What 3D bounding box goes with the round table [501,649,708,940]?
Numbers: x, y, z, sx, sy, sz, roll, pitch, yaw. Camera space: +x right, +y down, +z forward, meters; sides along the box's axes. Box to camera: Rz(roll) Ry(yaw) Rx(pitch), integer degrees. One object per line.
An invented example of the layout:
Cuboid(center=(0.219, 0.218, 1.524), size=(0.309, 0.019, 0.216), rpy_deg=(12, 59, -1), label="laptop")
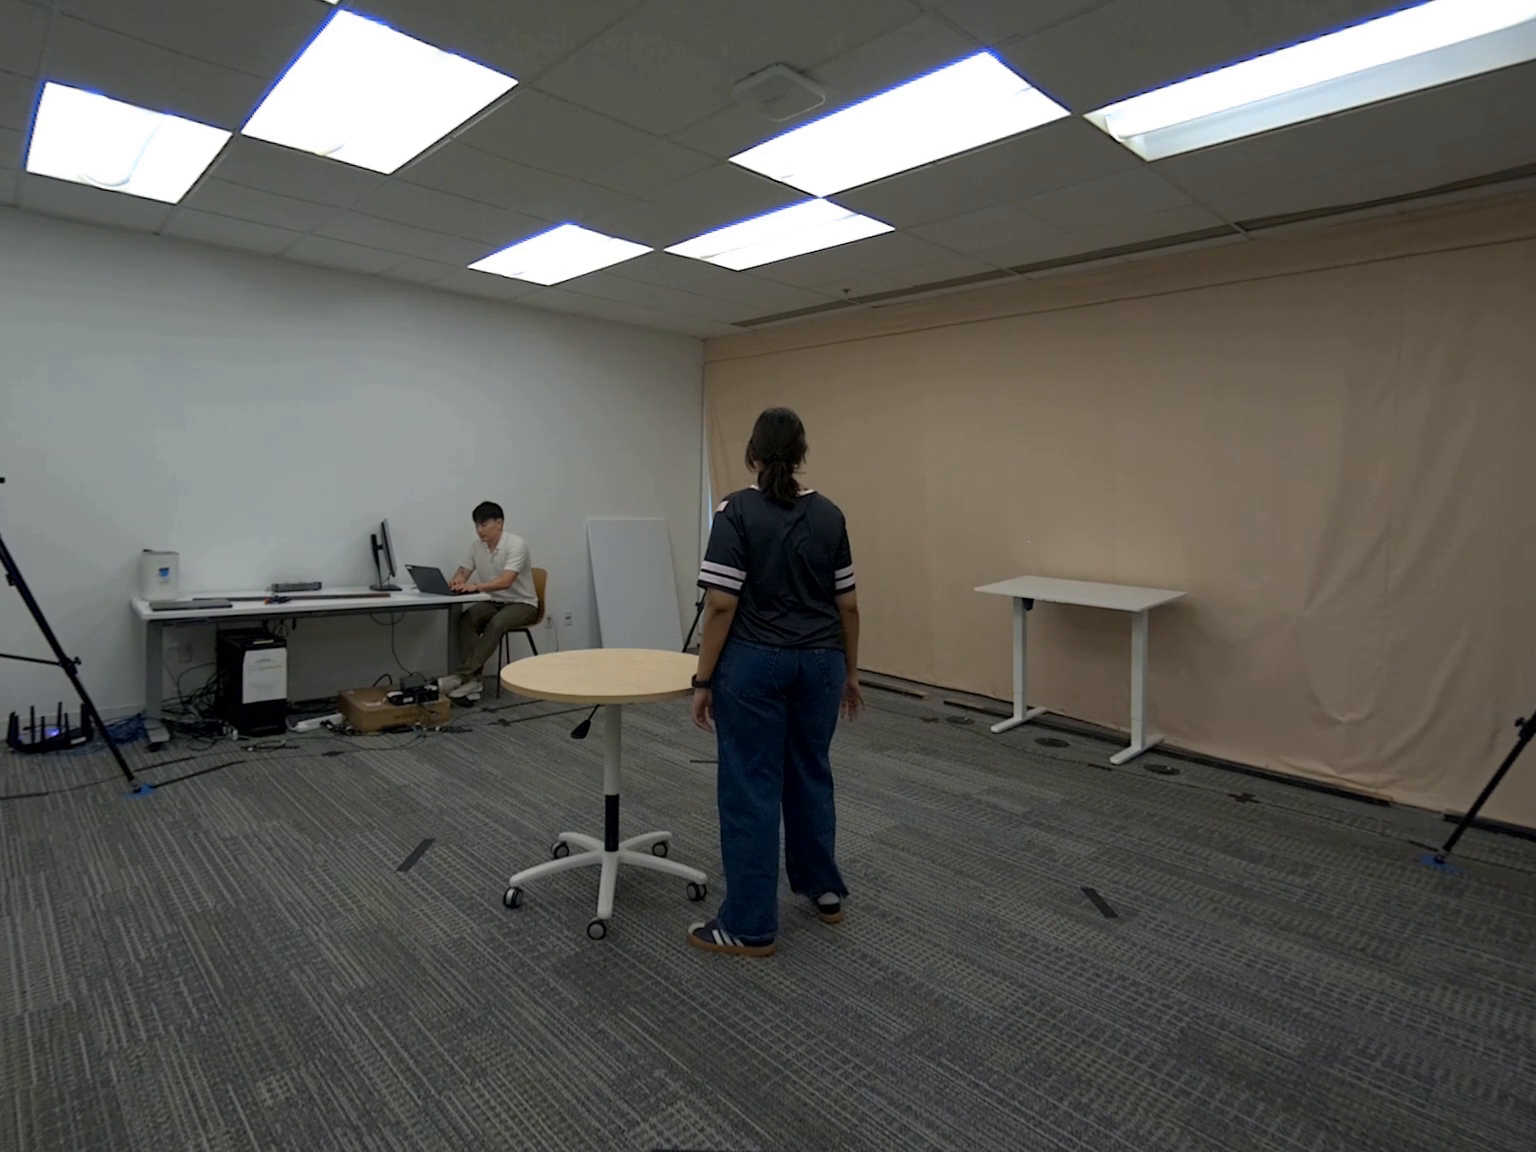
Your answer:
Cuboid(center=(-0.562, 0.718, 2.950), size=(0.784, 0.784, 0.788), rpy_deg=(1, 4, -1), label="round table")
